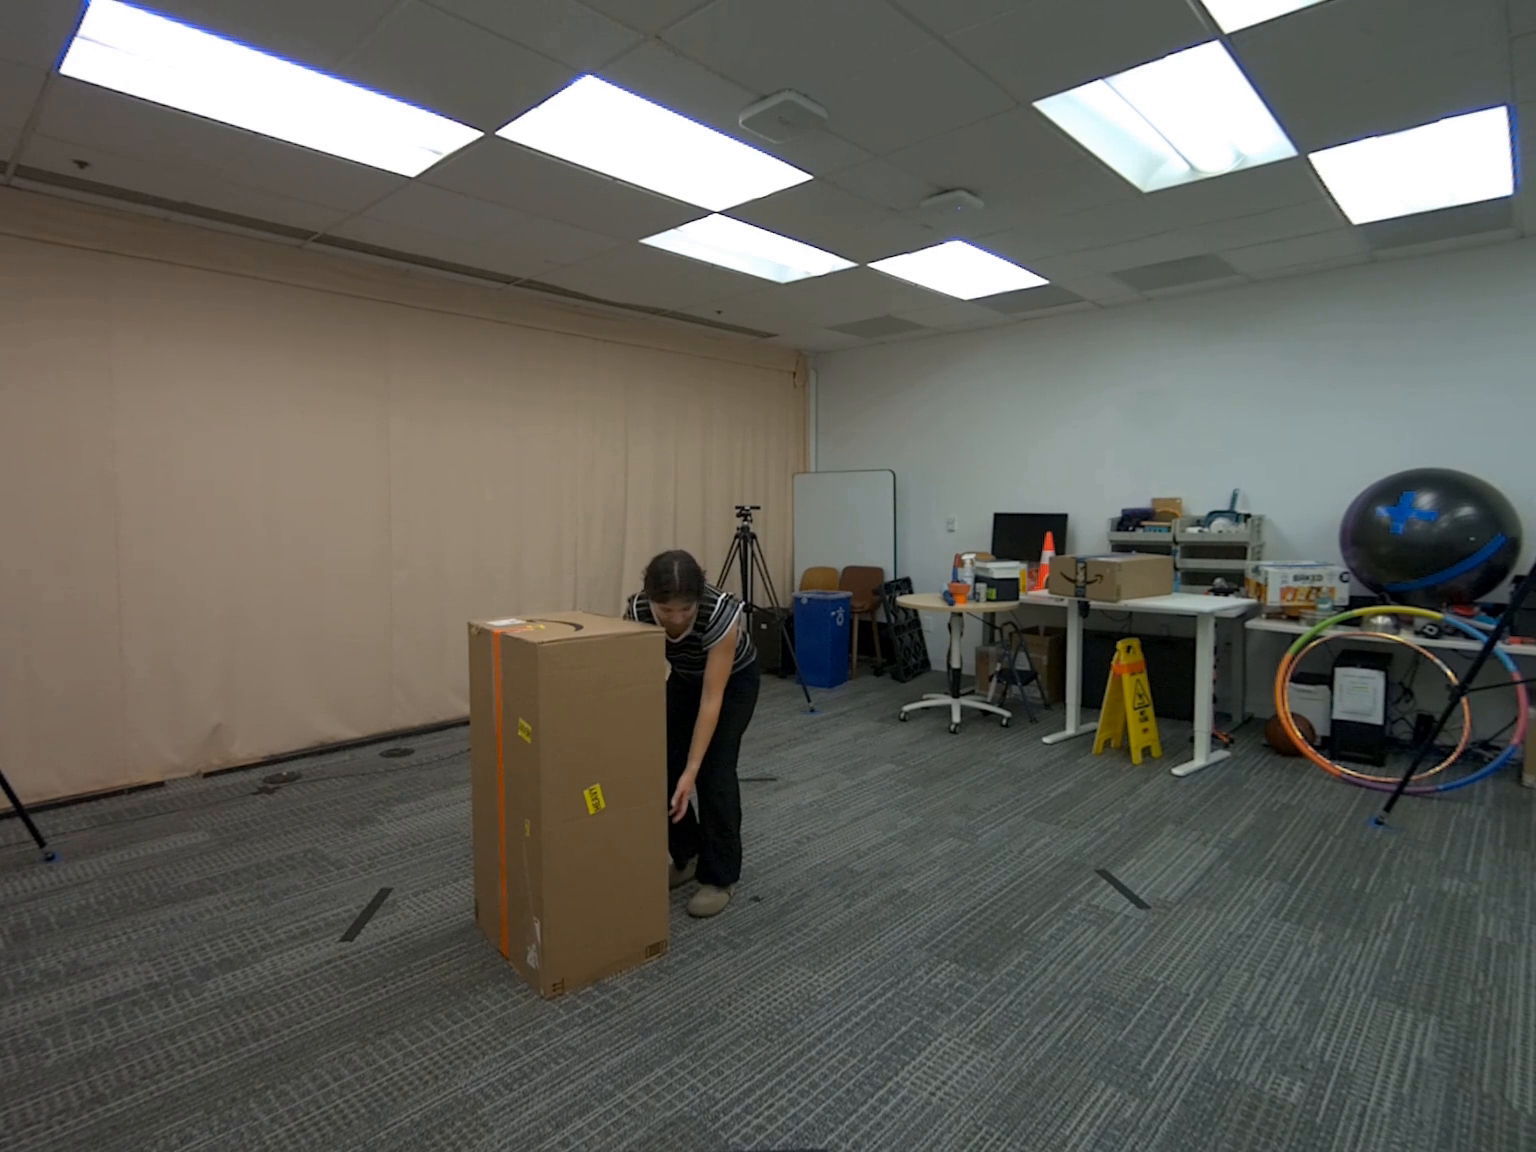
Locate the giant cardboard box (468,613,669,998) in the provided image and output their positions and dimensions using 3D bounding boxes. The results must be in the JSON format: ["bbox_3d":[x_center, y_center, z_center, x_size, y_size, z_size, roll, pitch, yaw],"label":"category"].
[{"bbox_3d":[-0.657,0.666,2.699,0.413,1.024,0.596,-3,4,-38],"label":"giant cardboard box"}]
